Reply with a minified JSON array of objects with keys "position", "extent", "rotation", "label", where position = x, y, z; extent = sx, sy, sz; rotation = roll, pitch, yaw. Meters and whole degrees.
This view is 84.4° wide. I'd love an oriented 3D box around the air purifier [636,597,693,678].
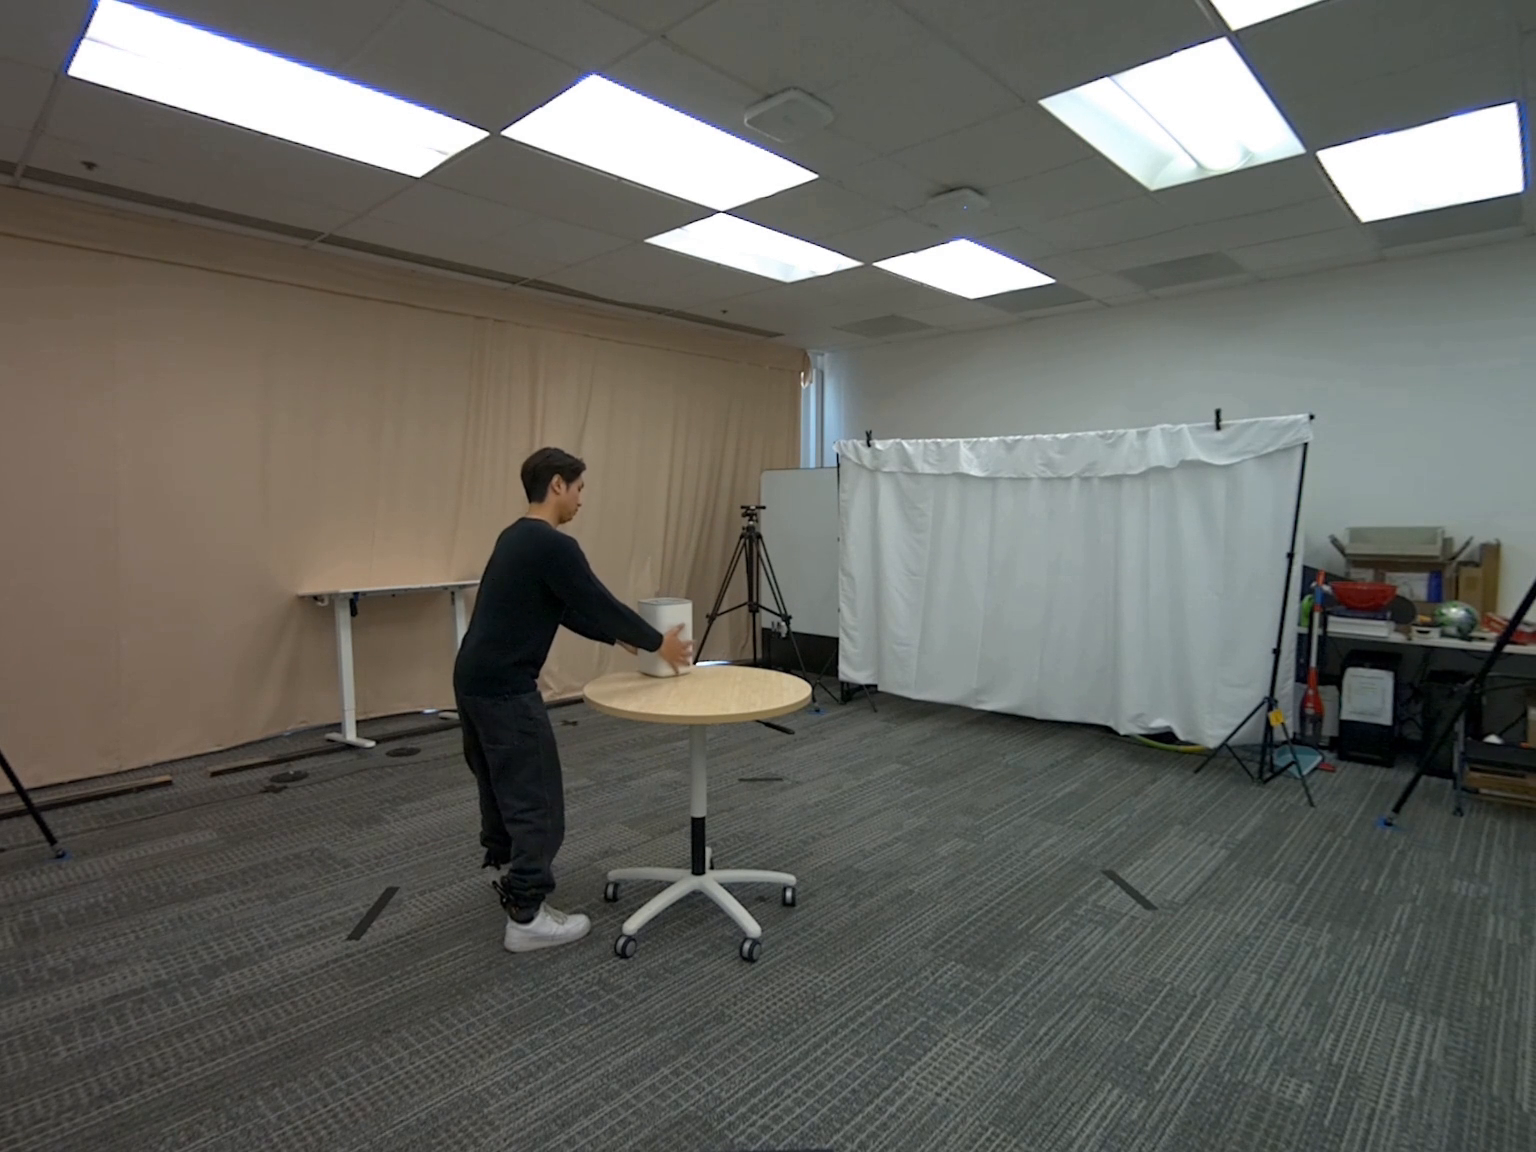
[{"position":[-0.376,0.221,3.054],"extent":[0.166,0.265,0.177],"rotation":[-3,5,-43],"label":"air purifier"}]
